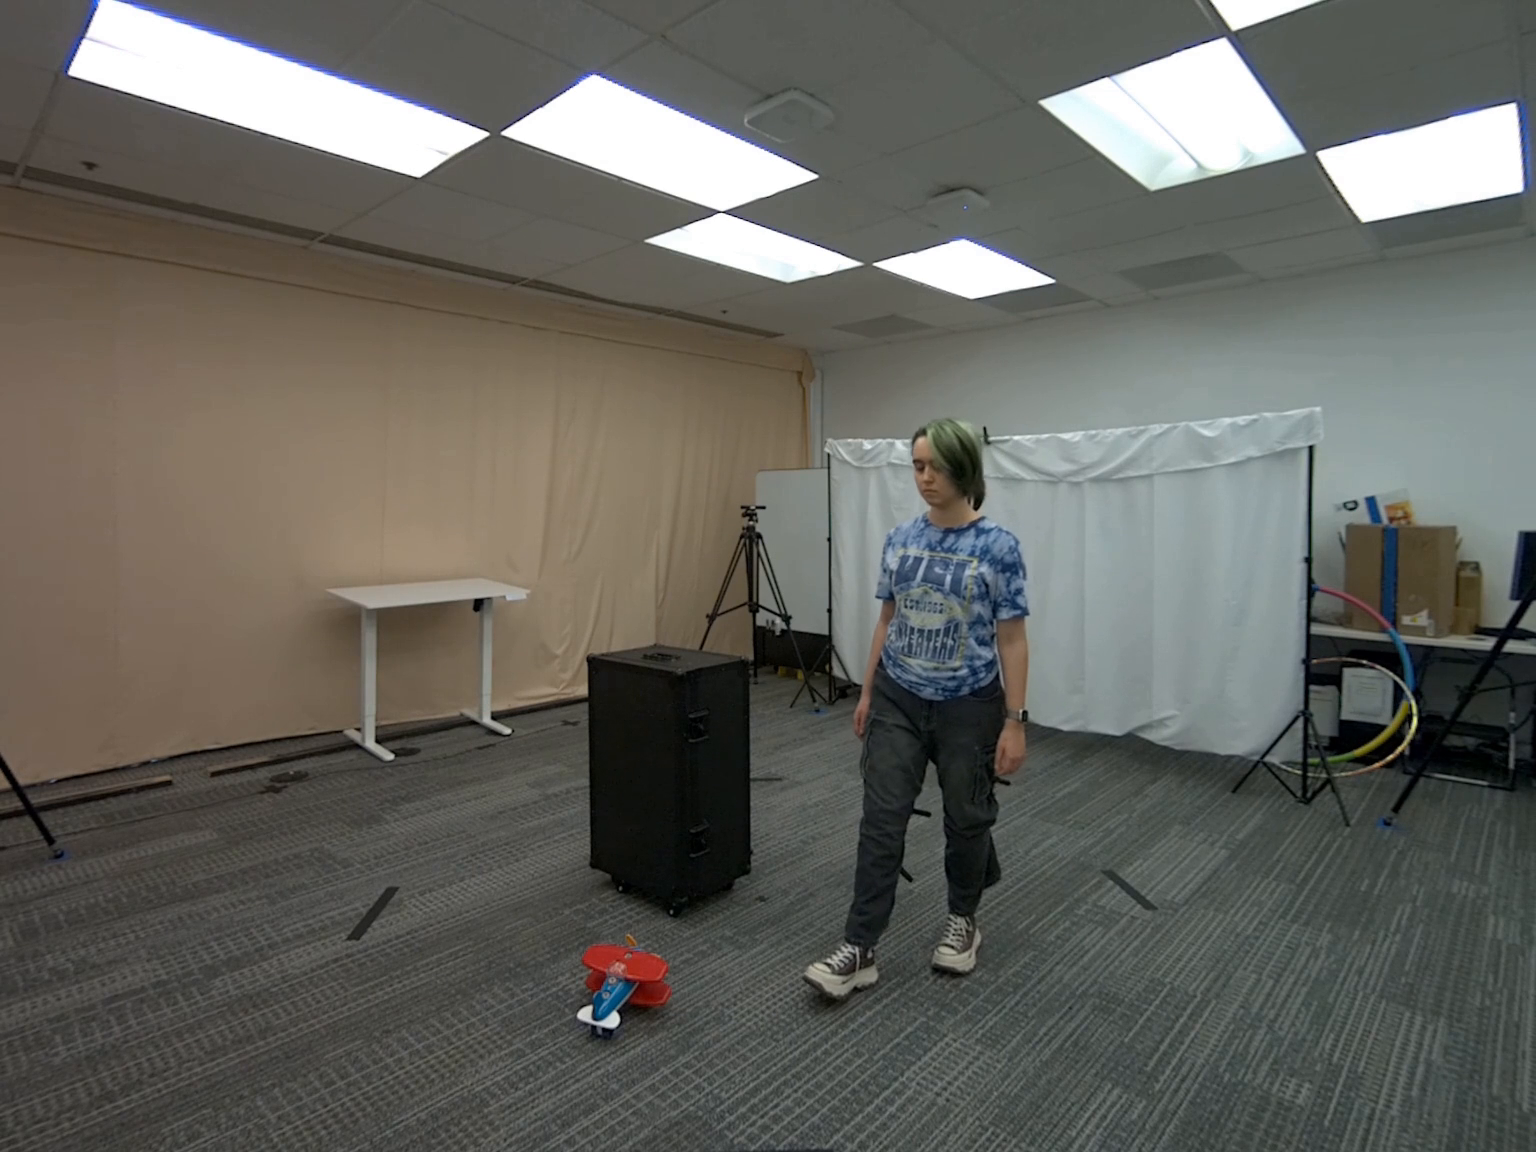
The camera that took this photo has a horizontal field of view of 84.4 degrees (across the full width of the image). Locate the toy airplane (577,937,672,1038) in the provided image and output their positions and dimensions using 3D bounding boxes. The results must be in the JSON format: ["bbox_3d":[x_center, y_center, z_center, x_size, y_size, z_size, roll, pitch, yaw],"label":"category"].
[{"bbox_3d":[-0.386,1.124,2.302,0.249,0.156,0.261,0,3,-6],"label":"toy airplane"}]
